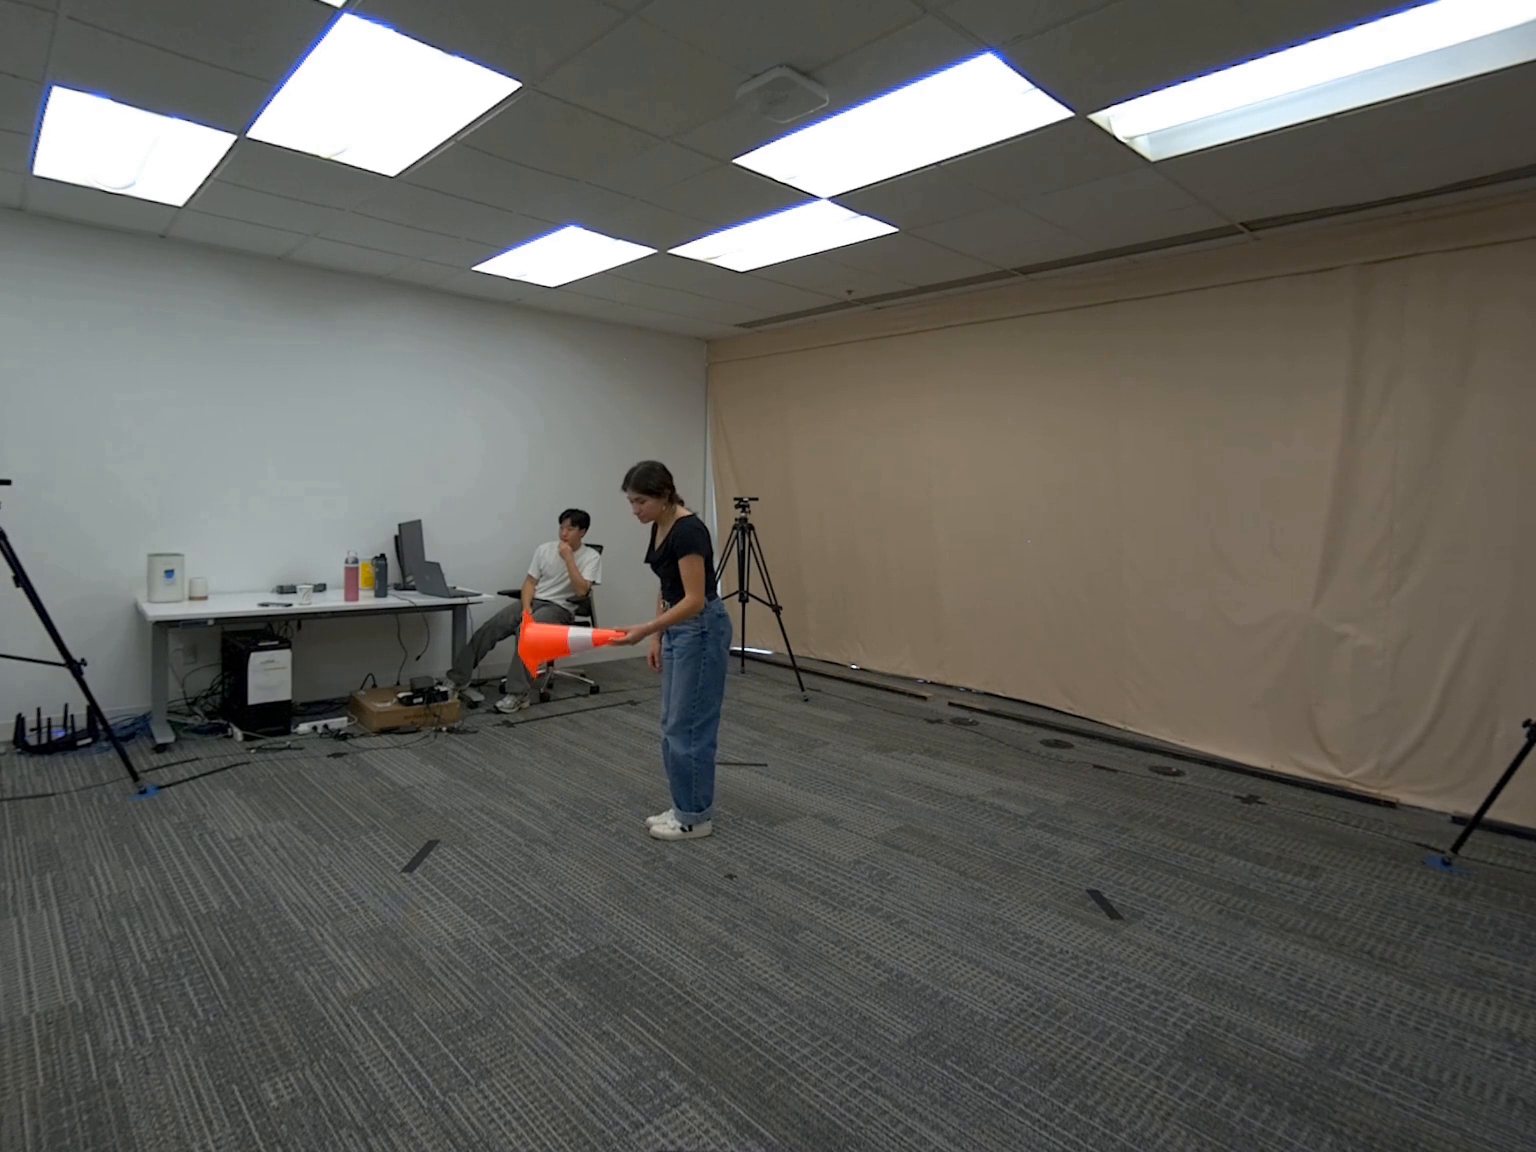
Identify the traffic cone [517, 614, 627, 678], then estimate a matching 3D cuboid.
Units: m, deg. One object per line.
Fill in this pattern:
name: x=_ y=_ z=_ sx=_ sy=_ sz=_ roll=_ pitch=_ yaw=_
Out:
traffic cone: x=-0.718 y=0.255 z=3.187 sx=0.386 sy=0.207 sz=0.200 roll=-3 pitch=-35 yaw=7
